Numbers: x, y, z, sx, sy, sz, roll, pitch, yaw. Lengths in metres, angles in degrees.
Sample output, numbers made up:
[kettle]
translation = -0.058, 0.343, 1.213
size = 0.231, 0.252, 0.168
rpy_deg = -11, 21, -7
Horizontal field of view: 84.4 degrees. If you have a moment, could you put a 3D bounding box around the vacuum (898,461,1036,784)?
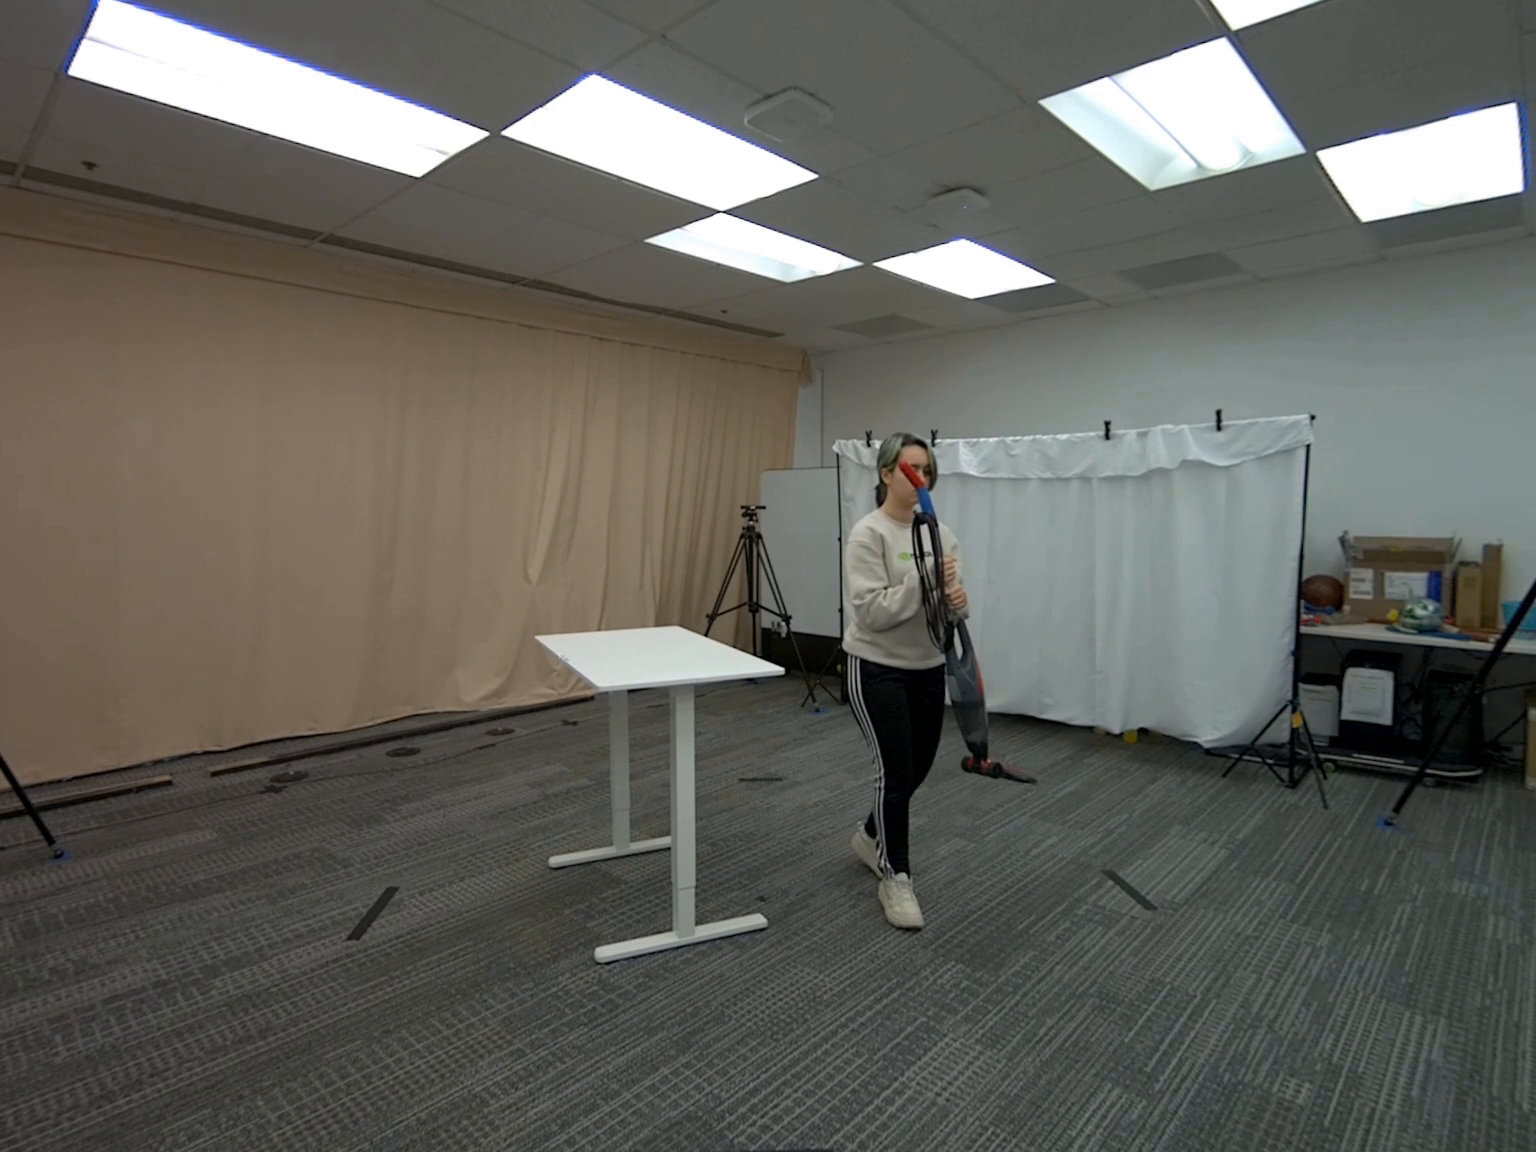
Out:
[vacuum]
translation = 0.574, 0.140, 2.678
size = 0.260, 1.042, 0.141
rpy_deg = -10, 10, 45
